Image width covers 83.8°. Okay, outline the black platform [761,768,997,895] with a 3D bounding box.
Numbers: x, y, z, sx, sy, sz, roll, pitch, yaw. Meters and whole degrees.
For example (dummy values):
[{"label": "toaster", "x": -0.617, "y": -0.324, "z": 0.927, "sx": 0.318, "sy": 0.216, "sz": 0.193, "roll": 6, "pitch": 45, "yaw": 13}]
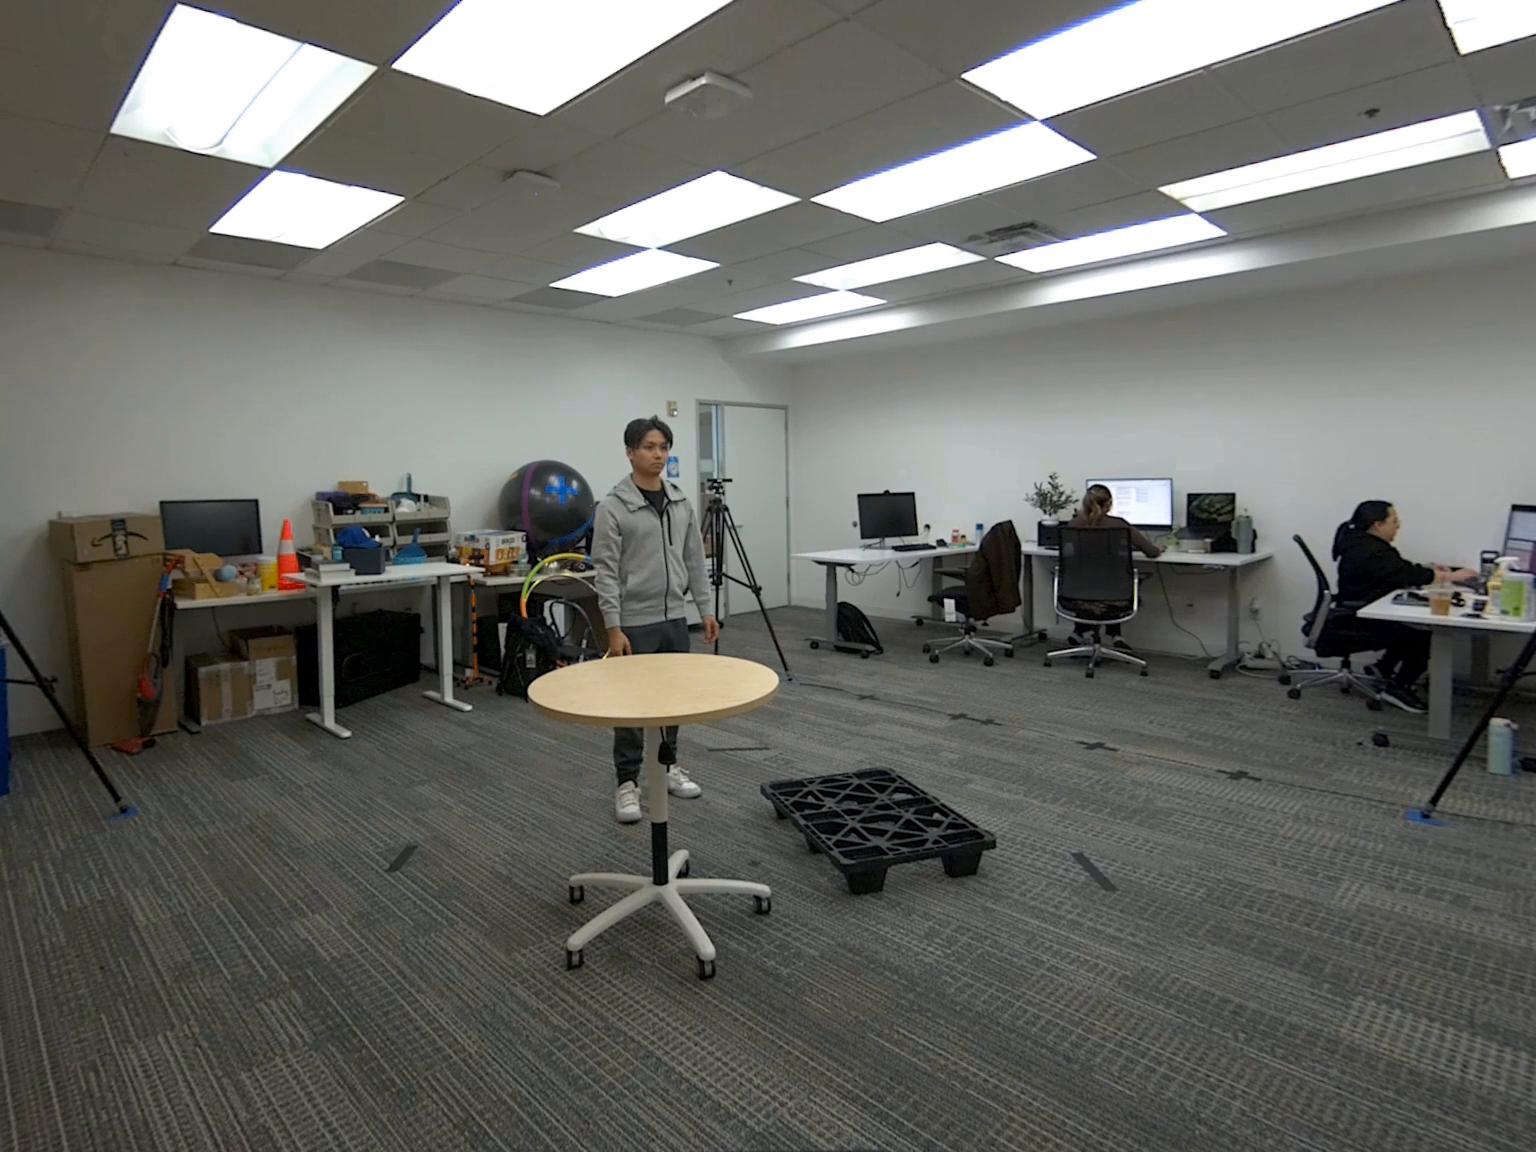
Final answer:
[{"label": "black platform", "x": 0.384, "y": 0.953, "z": 3.258, "sx": 0.595, "sy": 0.143, "sz": 0.822, "roll": -4, "pitch": 7, "yaw": -19}]
